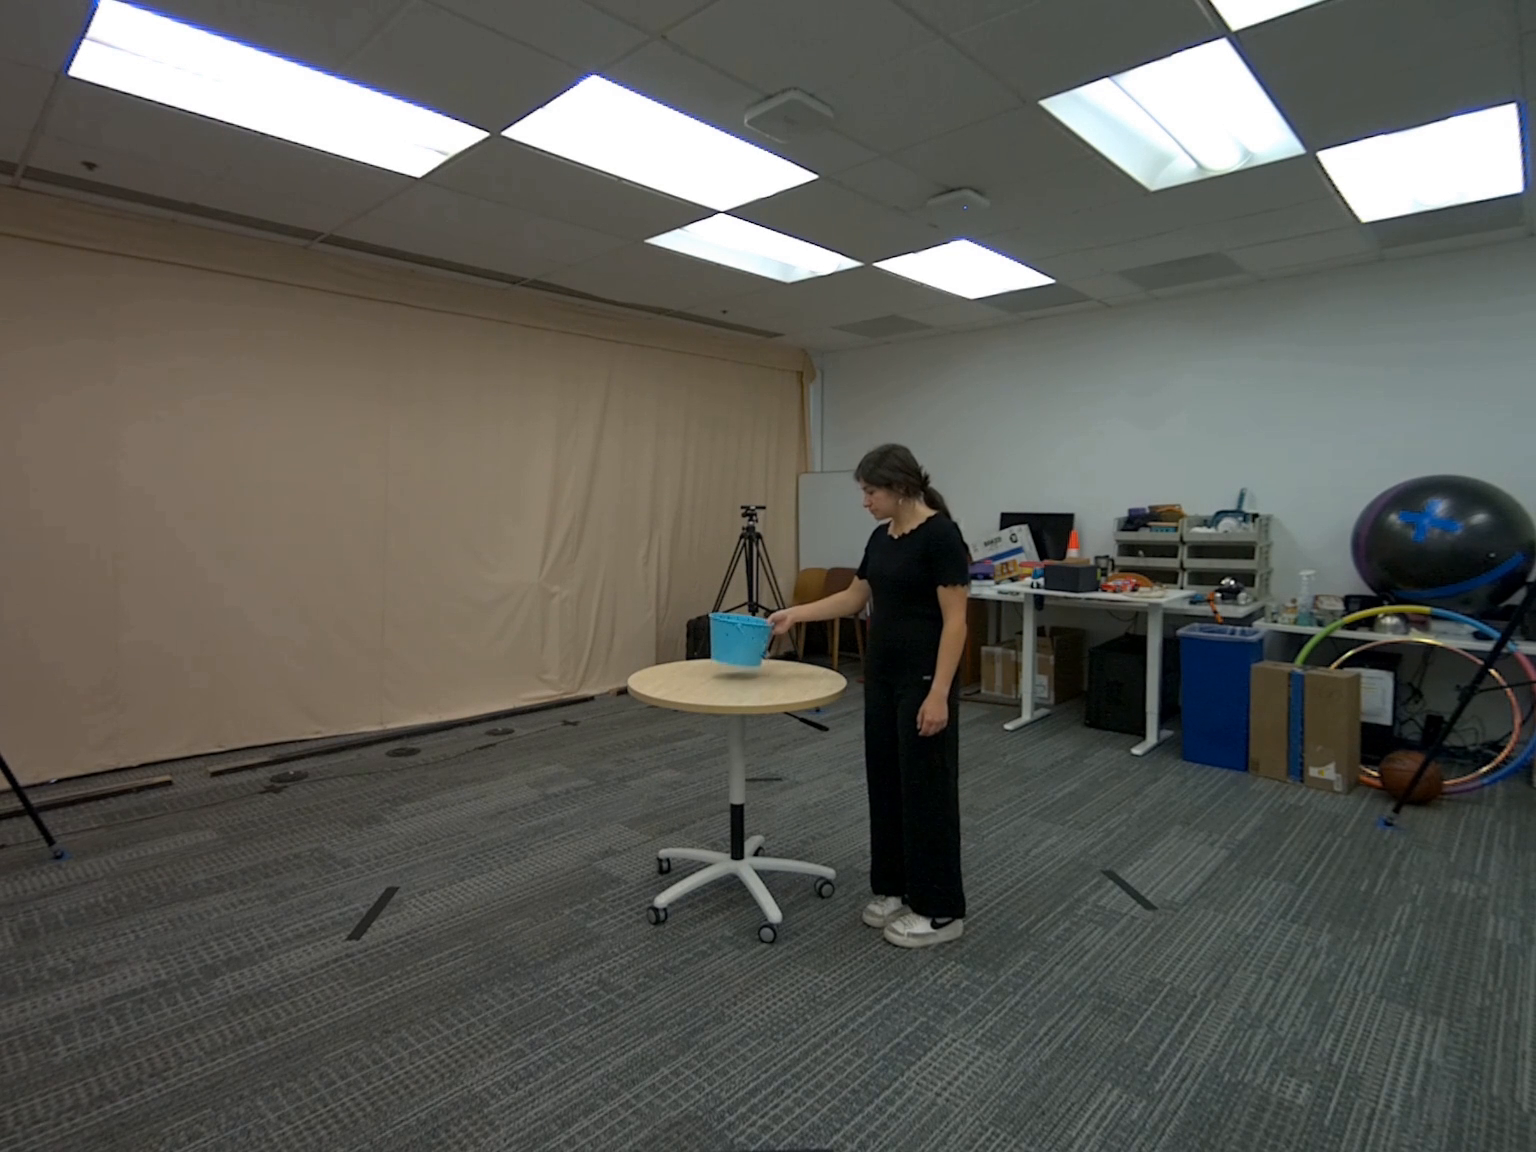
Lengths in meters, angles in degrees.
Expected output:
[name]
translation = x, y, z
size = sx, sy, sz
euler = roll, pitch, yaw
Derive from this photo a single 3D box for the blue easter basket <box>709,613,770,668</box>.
[blue easter basket]
translation = -0.090, 0.228, 2.987
size = 0.243, 0.156, 0.244
euler = 6, 3, -2
